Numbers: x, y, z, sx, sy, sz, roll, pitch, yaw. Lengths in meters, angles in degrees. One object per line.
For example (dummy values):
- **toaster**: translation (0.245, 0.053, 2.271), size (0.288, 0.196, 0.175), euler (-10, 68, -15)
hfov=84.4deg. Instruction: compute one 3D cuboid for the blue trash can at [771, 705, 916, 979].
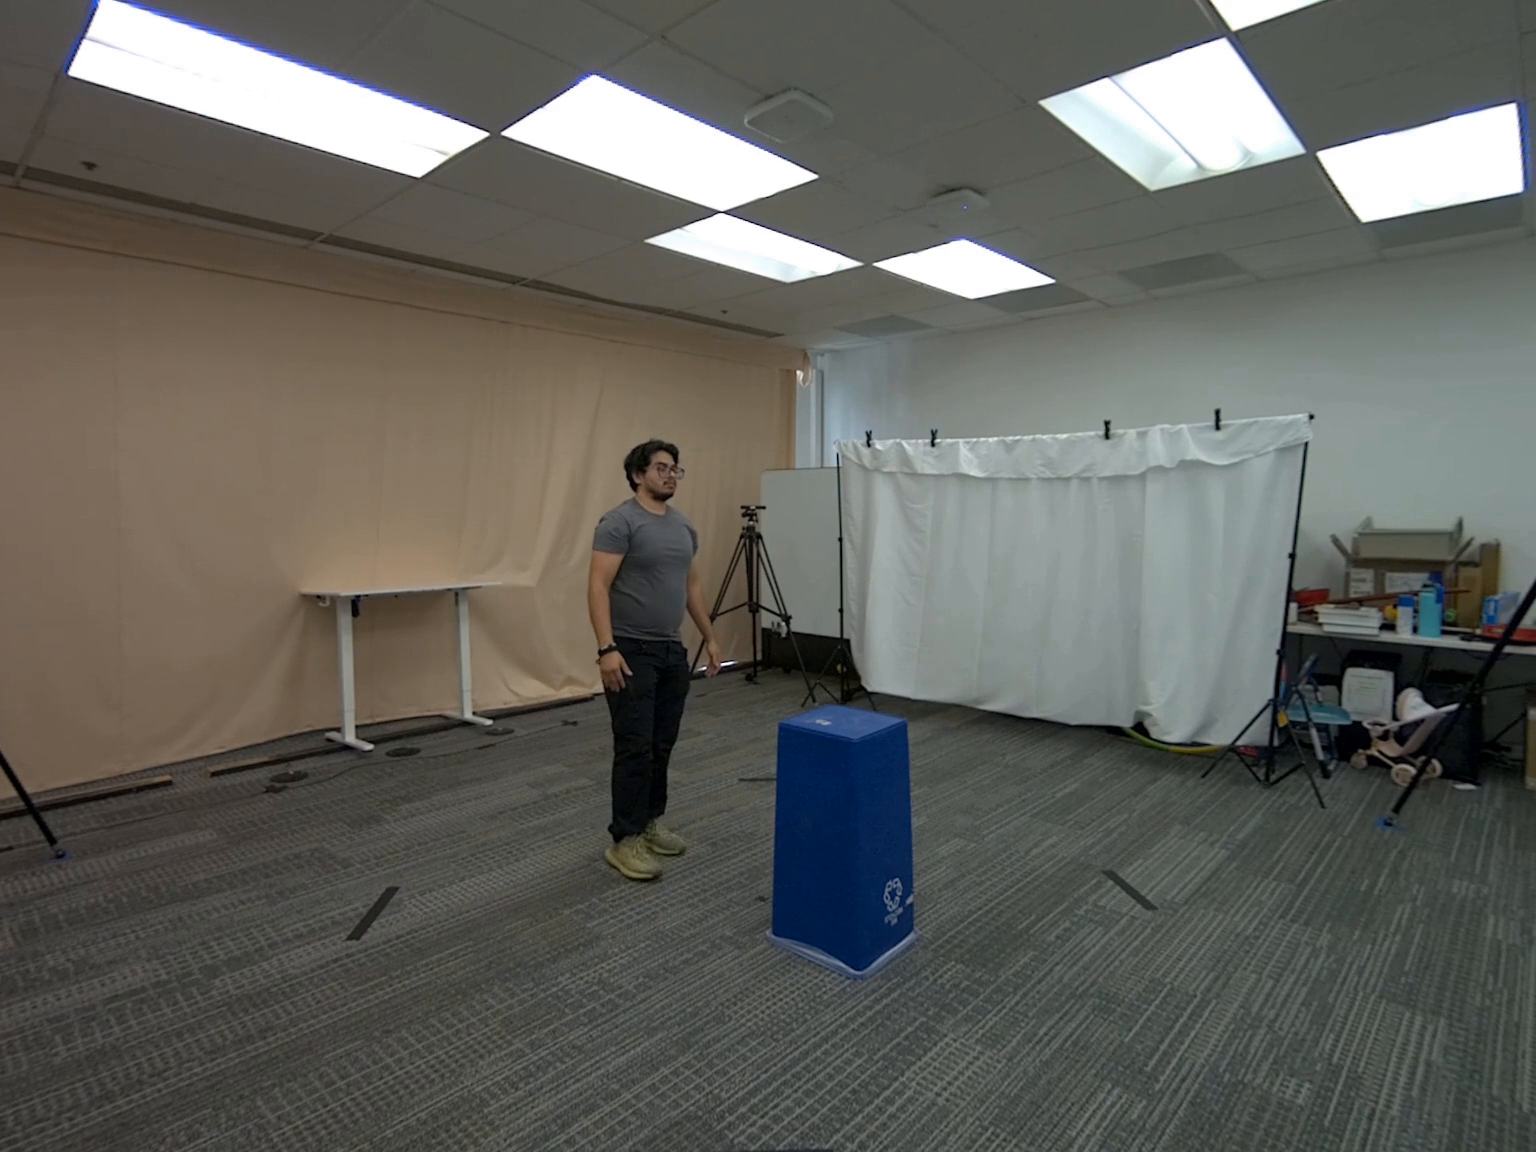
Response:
- **blue trash can**: translation (0.237, 0.815, 2.689), size (0.390, 0.712, 0.363), euler (3, 5, 42)
